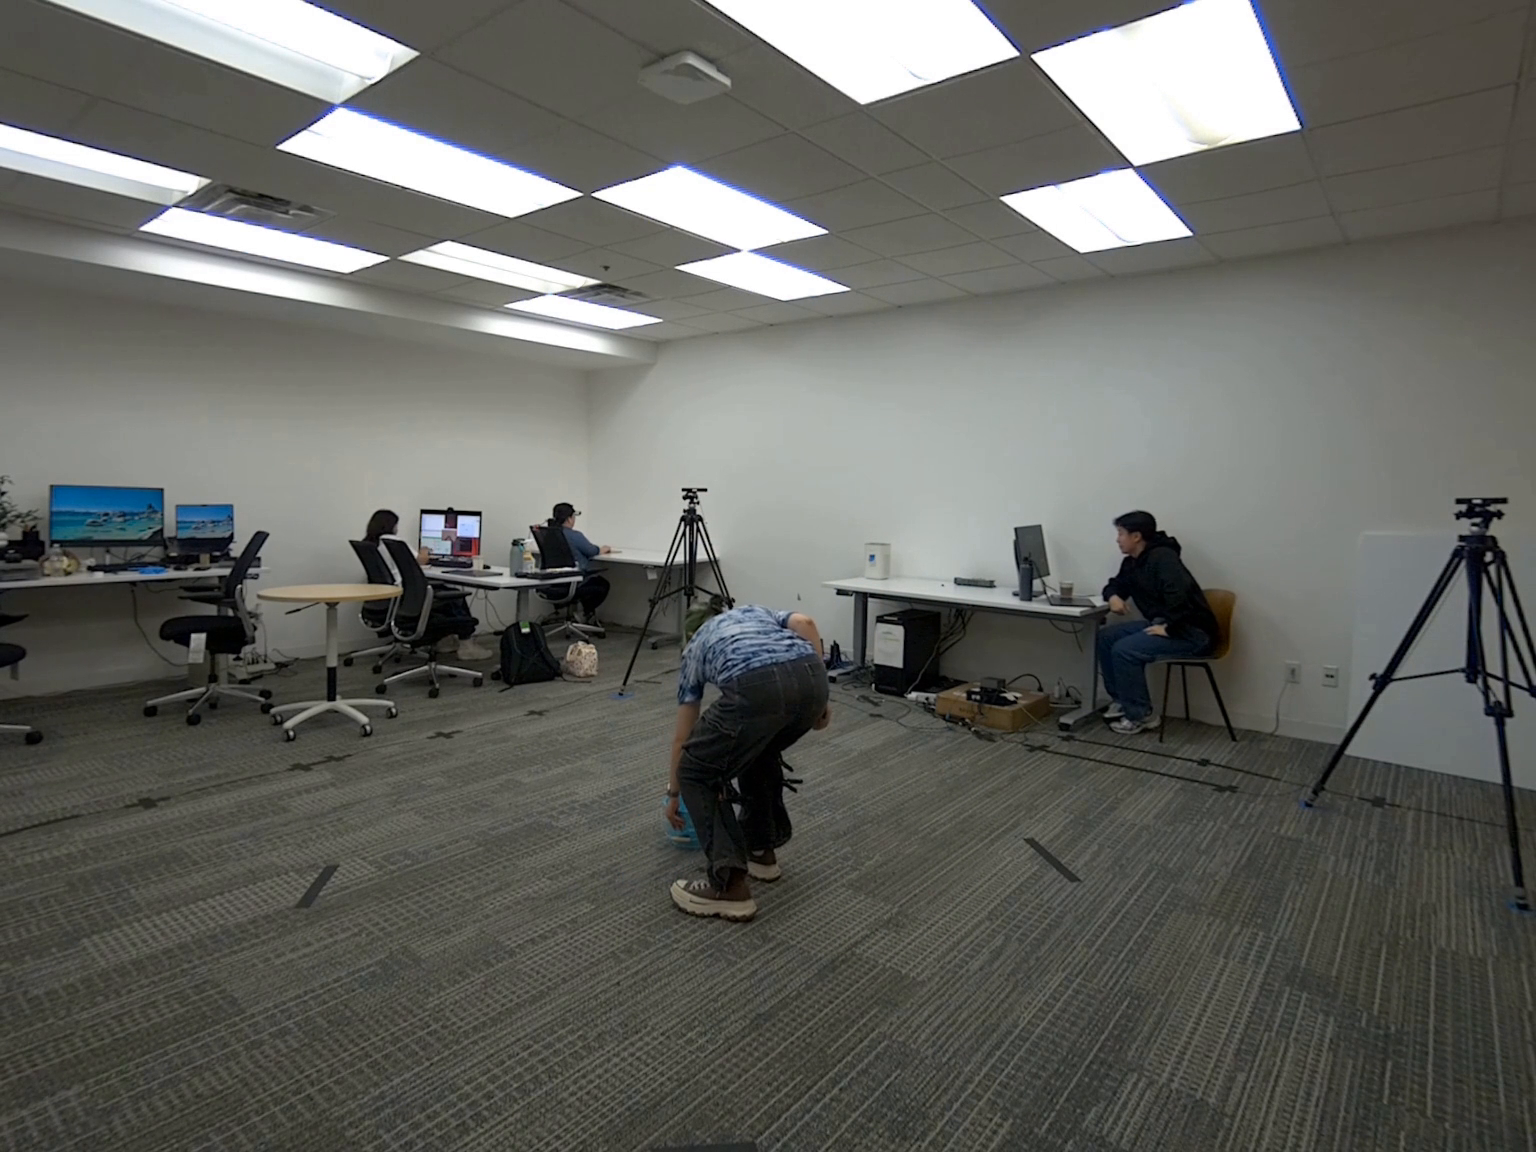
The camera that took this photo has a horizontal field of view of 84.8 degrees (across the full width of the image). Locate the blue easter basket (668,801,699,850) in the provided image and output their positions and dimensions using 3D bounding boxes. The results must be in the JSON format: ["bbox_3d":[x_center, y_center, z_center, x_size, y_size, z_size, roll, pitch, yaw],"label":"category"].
[{"bbox_3d":[-0.314,0.963,3.368,0.243,0.155,0.245,1,4,-2],"label":"blue easter basket"}]
